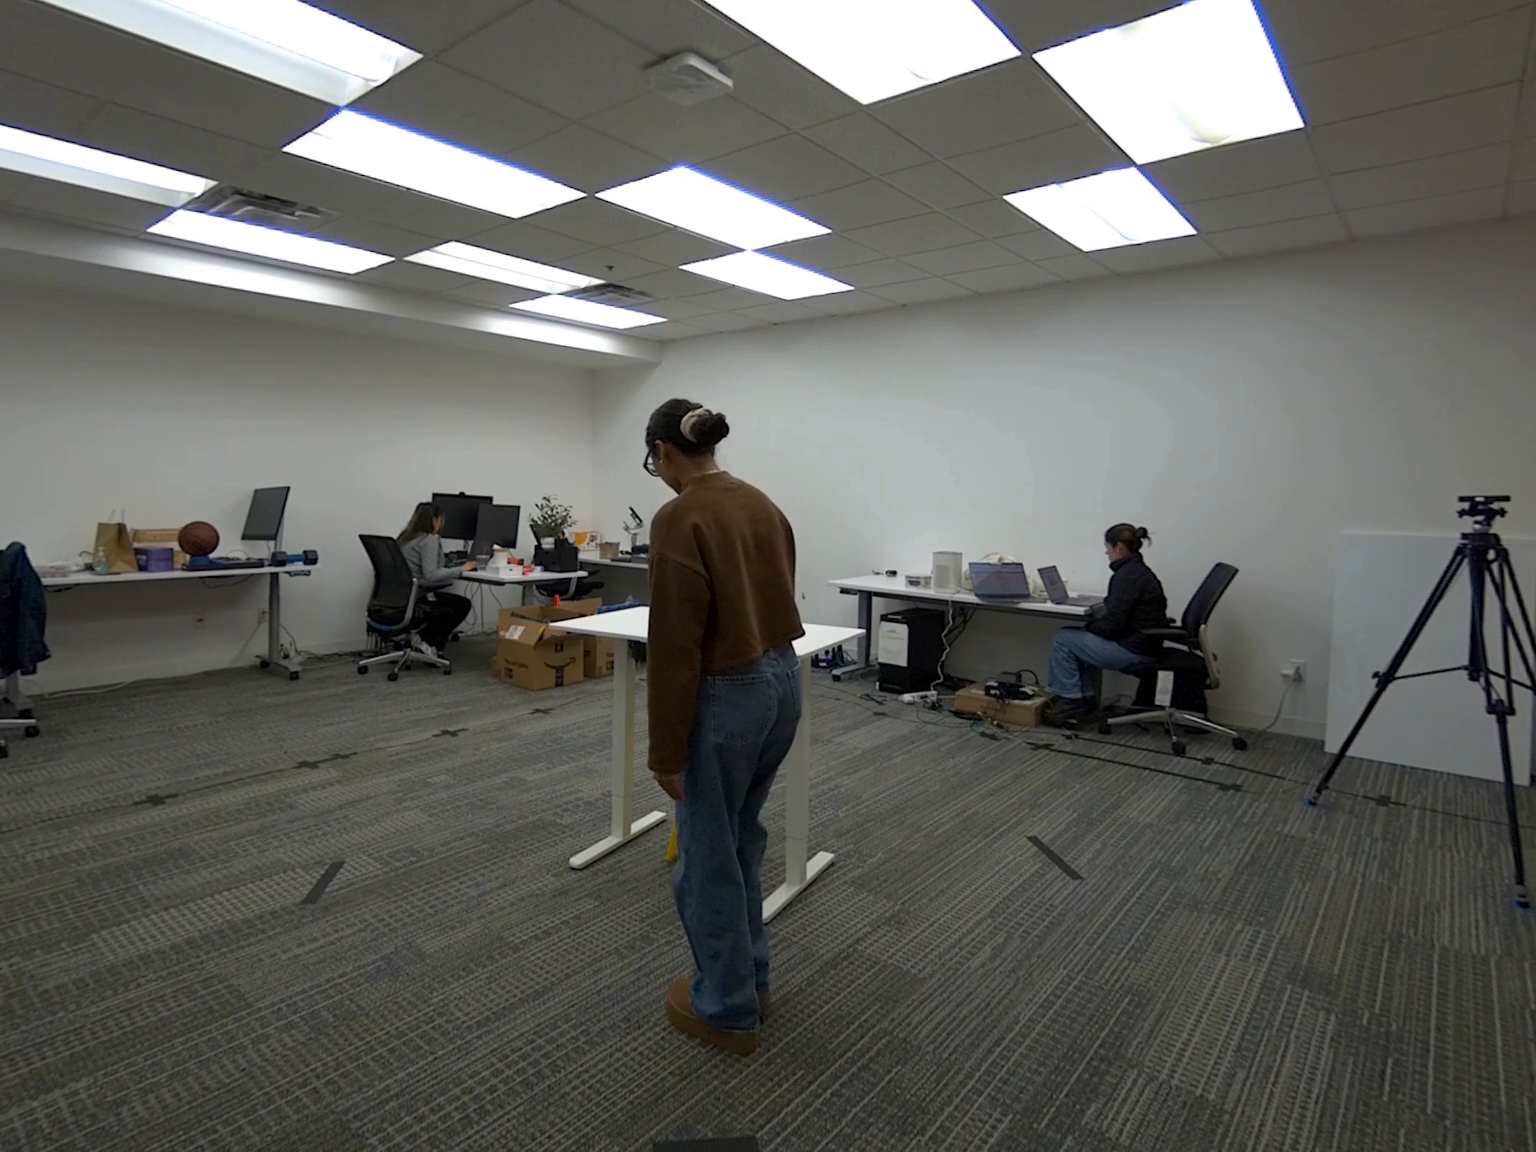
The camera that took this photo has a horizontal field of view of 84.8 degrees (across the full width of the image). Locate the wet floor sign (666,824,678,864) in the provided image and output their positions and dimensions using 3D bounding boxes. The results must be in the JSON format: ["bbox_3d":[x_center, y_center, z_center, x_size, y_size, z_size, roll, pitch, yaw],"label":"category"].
[{"bbox_3d":[-0.203,0.728,3.213,0.296,0.644,0.277,3,4,21],"label":"wet floor sign"}]
